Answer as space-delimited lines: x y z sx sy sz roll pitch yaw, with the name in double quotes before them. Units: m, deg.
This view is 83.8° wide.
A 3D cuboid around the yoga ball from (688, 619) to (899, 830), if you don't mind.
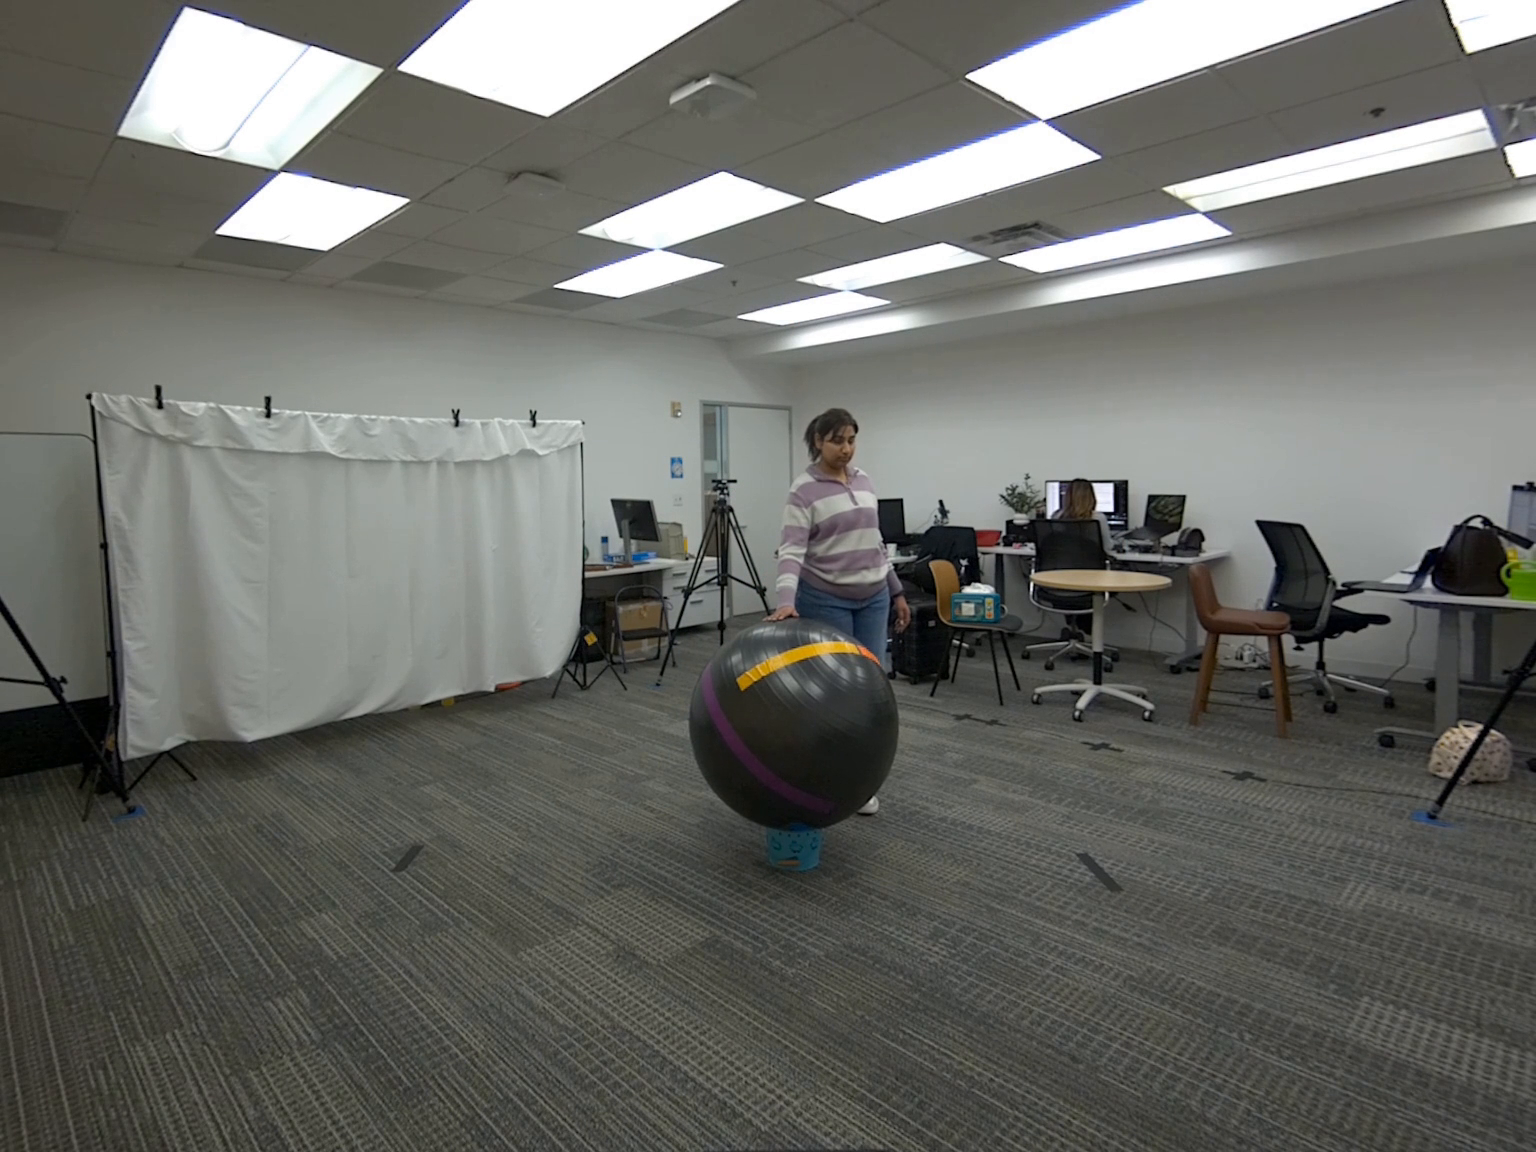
"yoga ball" 0.087 0.534 3.109 0.757 0.755 0.762 -1 5 -2
